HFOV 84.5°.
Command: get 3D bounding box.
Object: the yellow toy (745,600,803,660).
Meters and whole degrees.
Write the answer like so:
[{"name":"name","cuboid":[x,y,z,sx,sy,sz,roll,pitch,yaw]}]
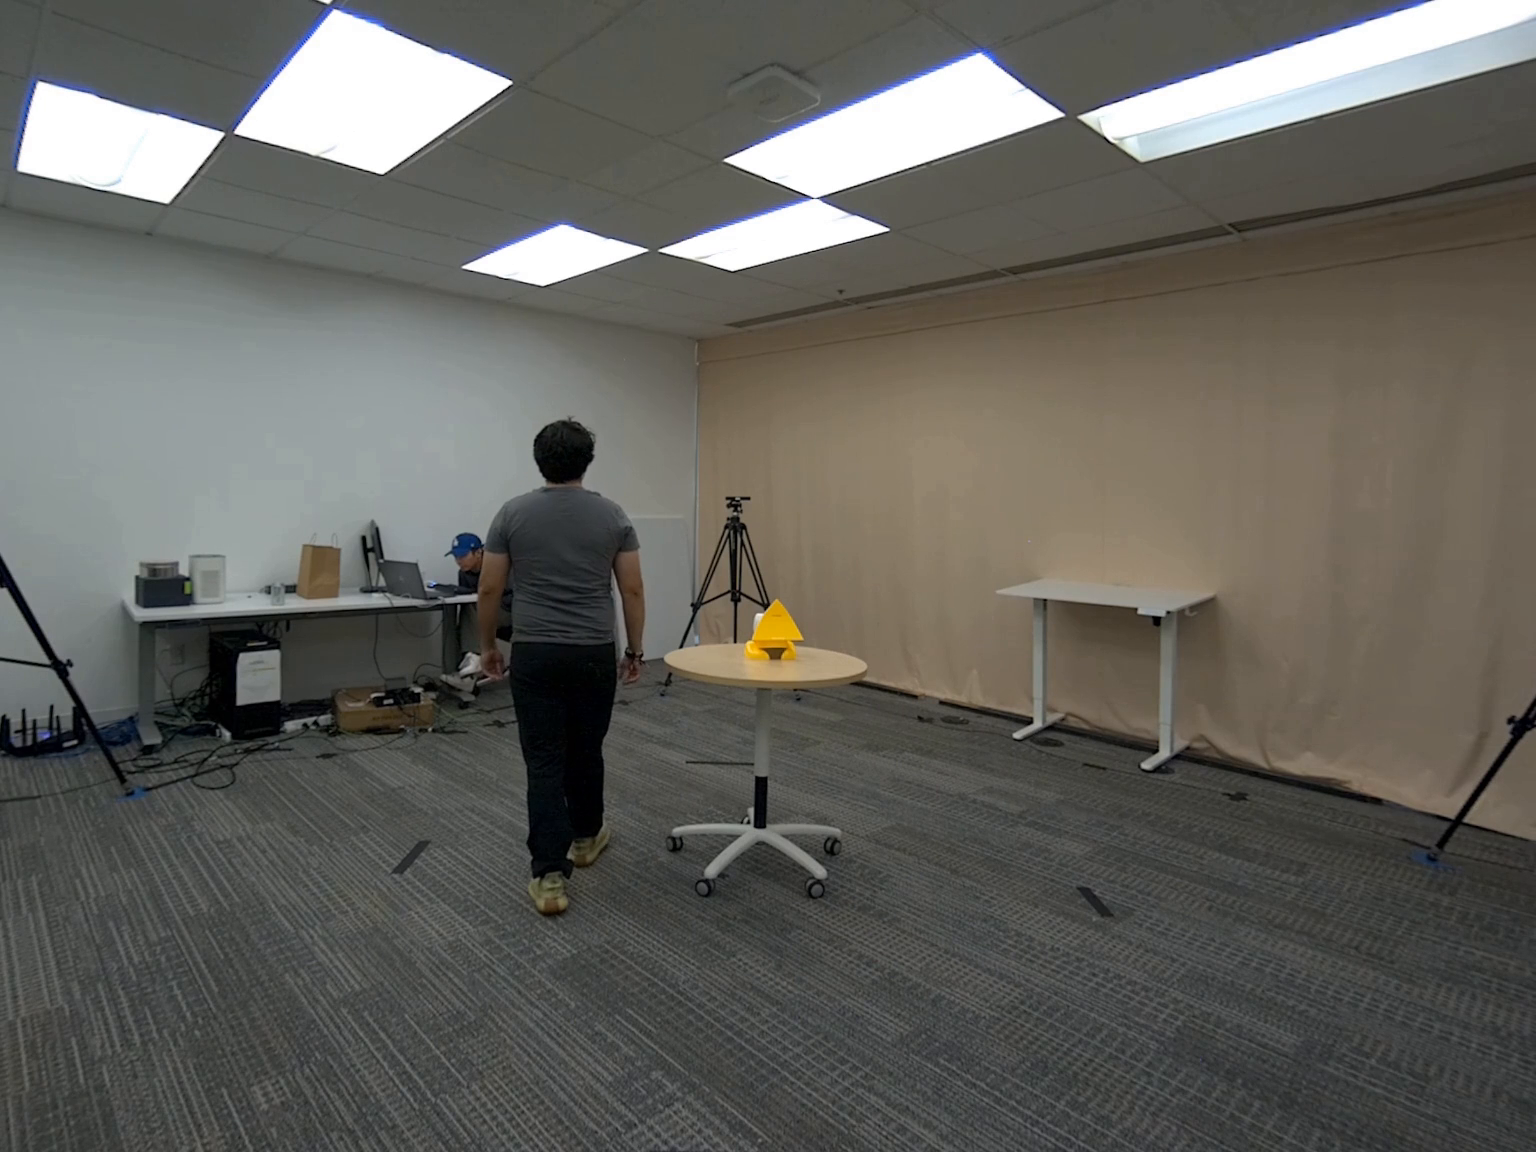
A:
[{"name":"yellow toy","cuboid":[0.006,0.198,3.269,0.202,0.230,0.196,1,4,-16]}]
